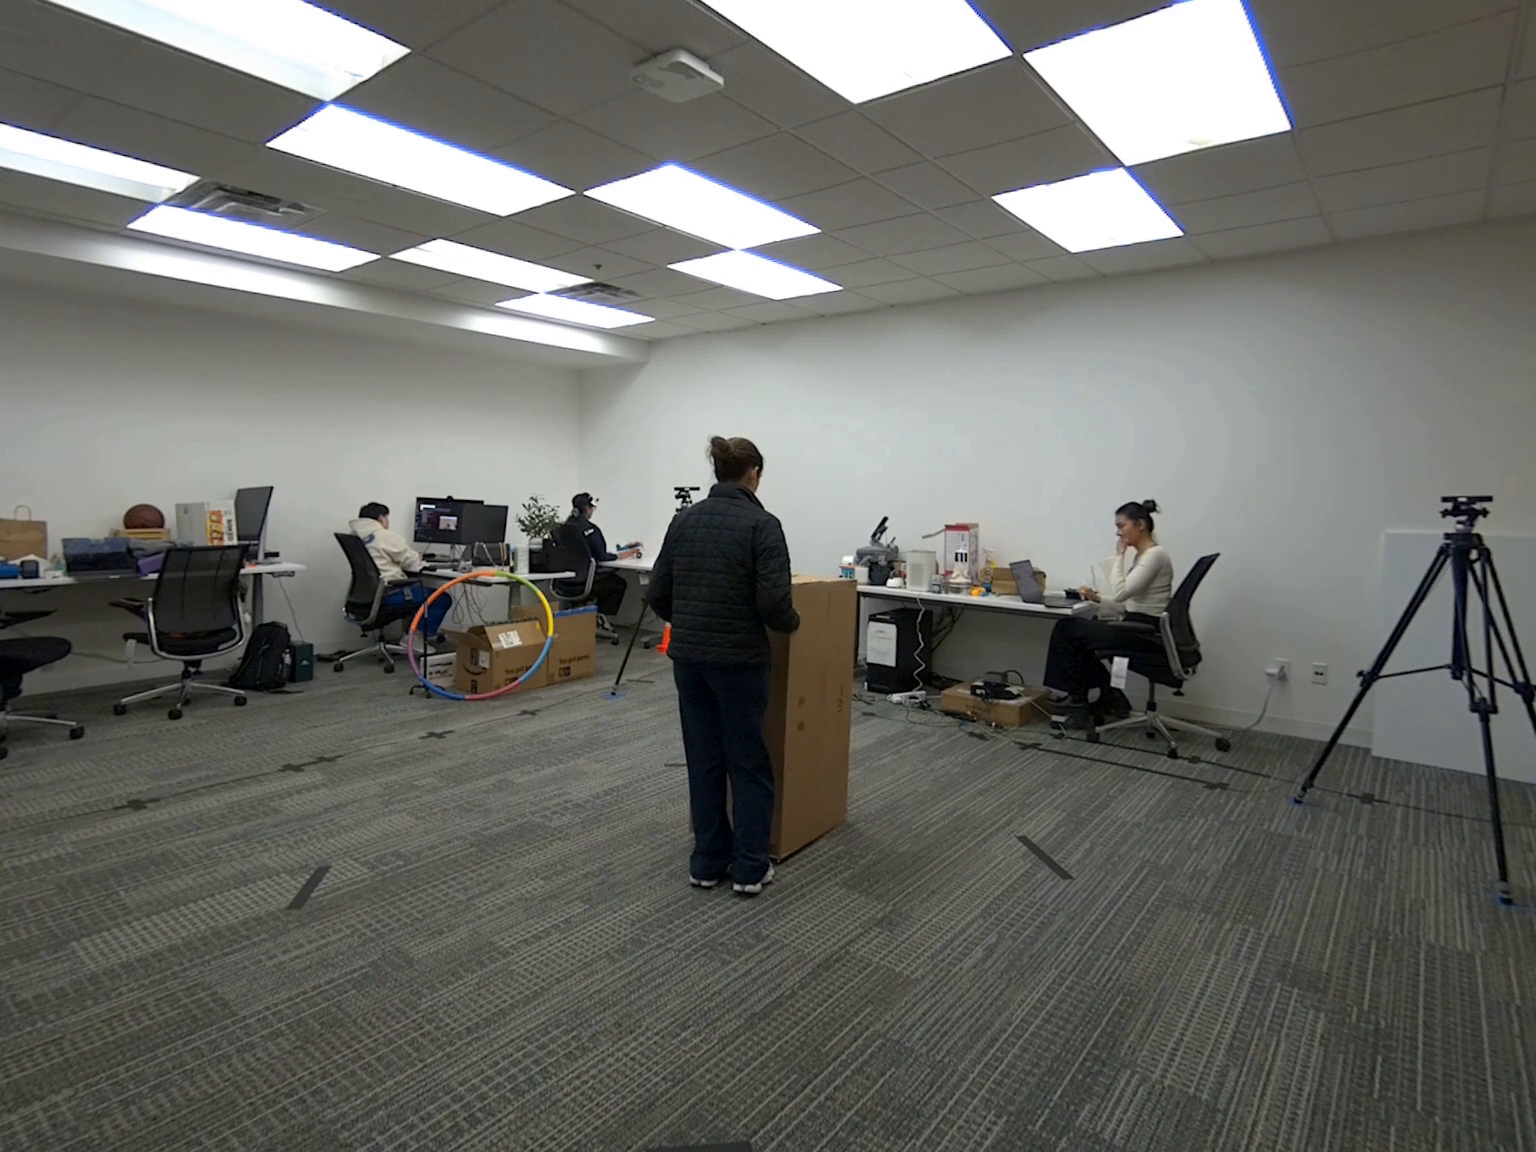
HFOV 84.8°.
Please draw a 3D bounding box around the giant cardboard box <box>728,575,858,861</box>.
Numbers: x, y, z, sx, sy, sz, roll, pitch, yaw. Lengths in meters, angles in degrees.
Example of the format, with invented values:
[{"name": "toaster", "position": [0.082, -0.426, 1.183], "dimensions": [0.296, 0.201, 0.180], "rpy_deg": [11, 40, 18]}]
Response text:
[{"name": "giant cardboard box", "position": [0.051, 0.519, 3.491], "dimensions": [0.440, 1.024, 0.560], "rpy_deg": [4, 2, 34]}]
